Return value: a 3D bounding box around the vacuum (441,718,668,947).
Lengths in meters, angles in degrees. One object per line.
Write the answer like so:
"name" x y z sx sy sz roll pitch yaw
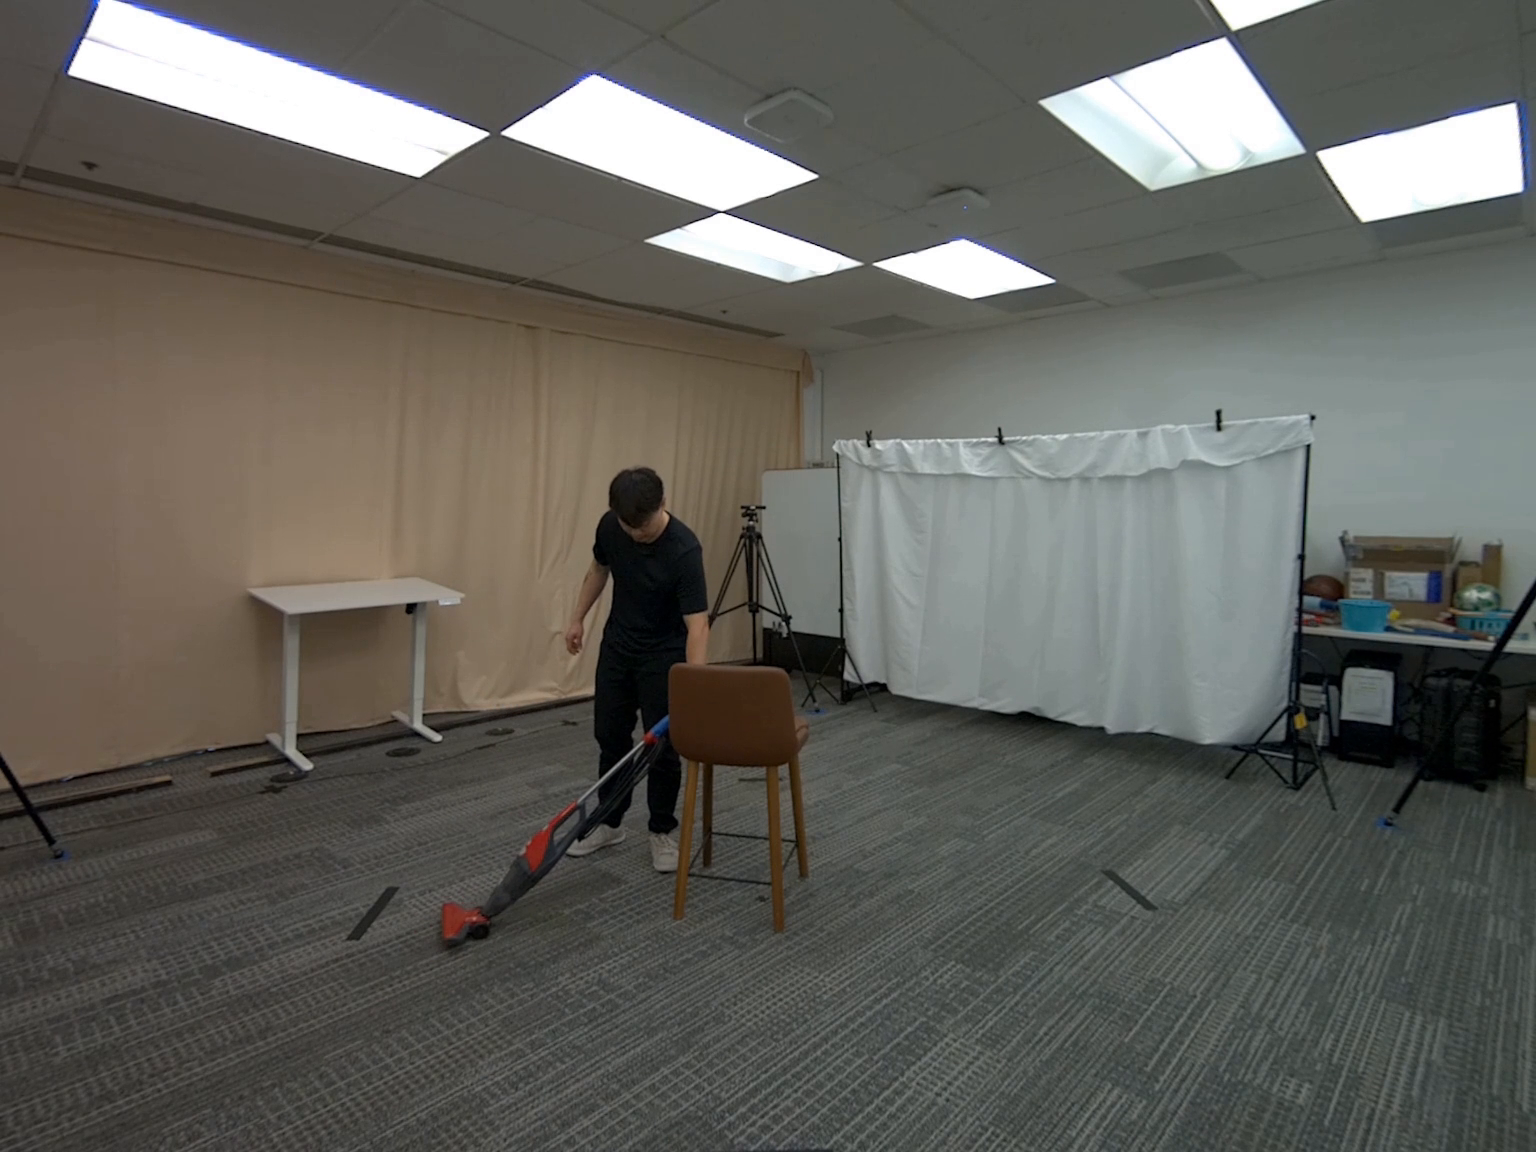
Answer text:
"vacuum" -0.620 0.807 2.878 1.043 0.141 0.258 -42 17 -14
